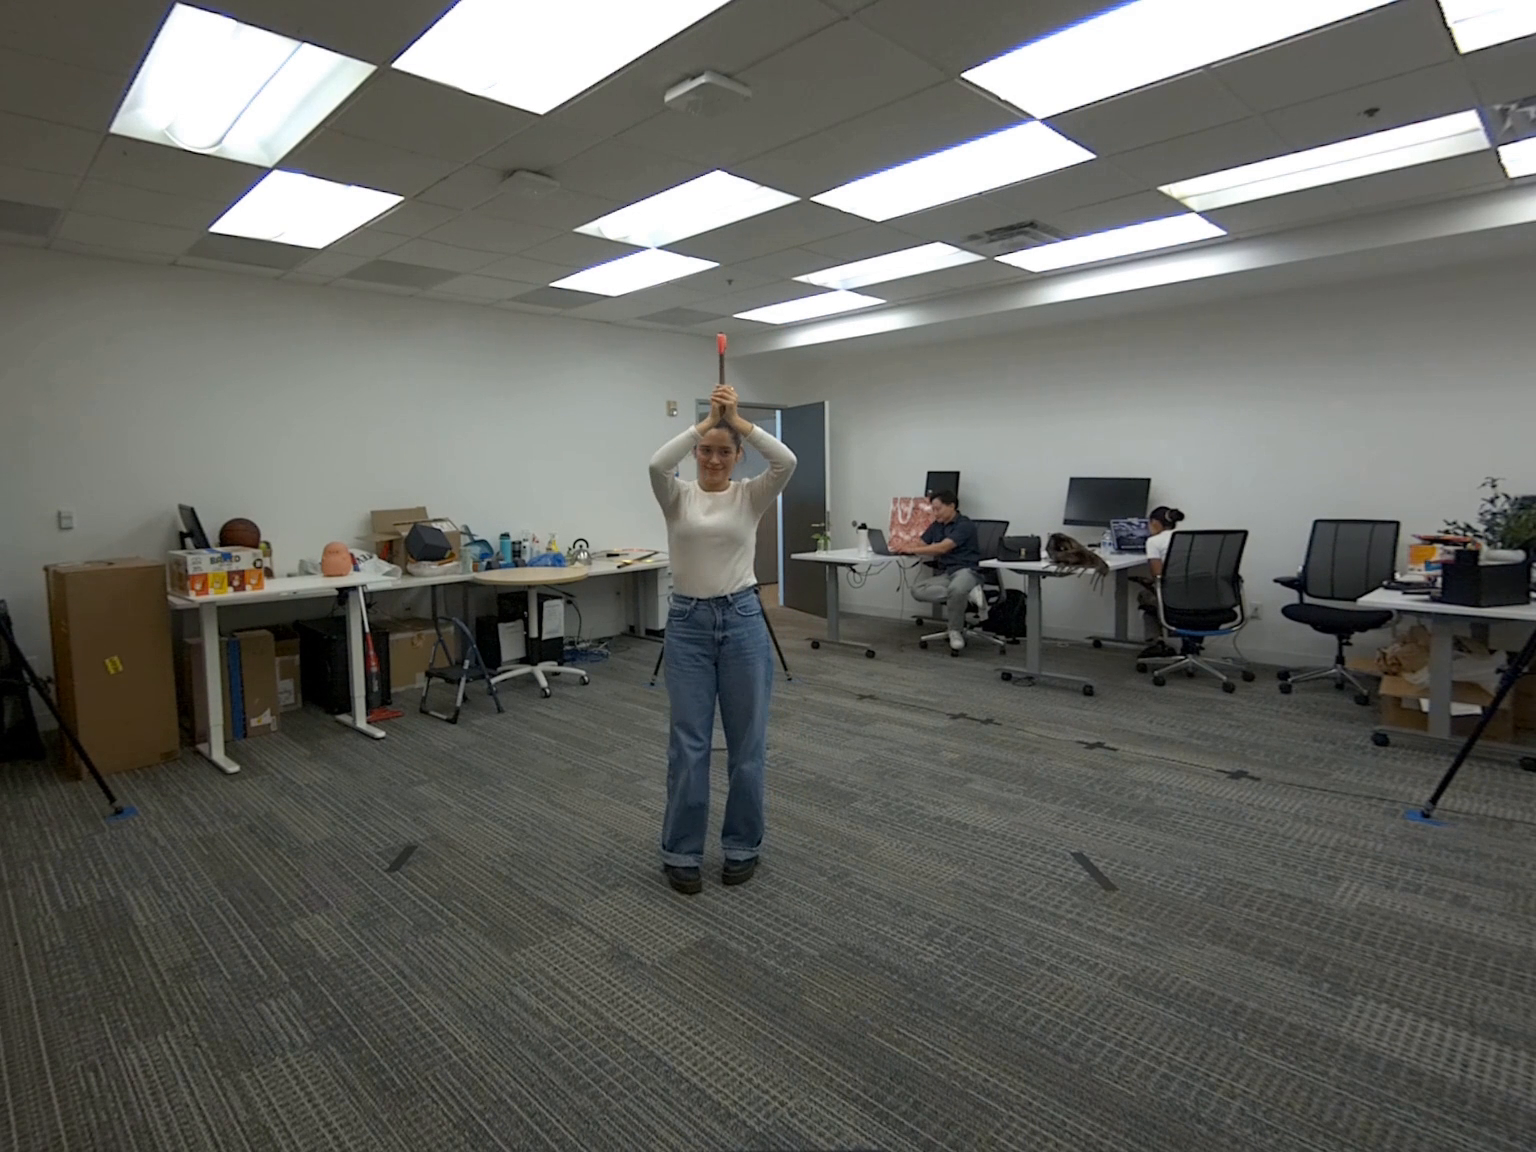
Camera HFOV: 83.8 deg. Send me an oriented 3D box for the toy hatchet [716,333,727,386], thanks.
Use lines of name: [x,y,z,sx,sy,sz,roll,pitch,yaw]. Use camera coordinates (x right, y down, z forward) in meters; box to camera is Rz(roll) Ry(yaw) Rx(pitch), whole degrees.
toy hatchet: [-0.152,-0.680,2.798,0.029,0.274,0.129,-2,-17,0]
